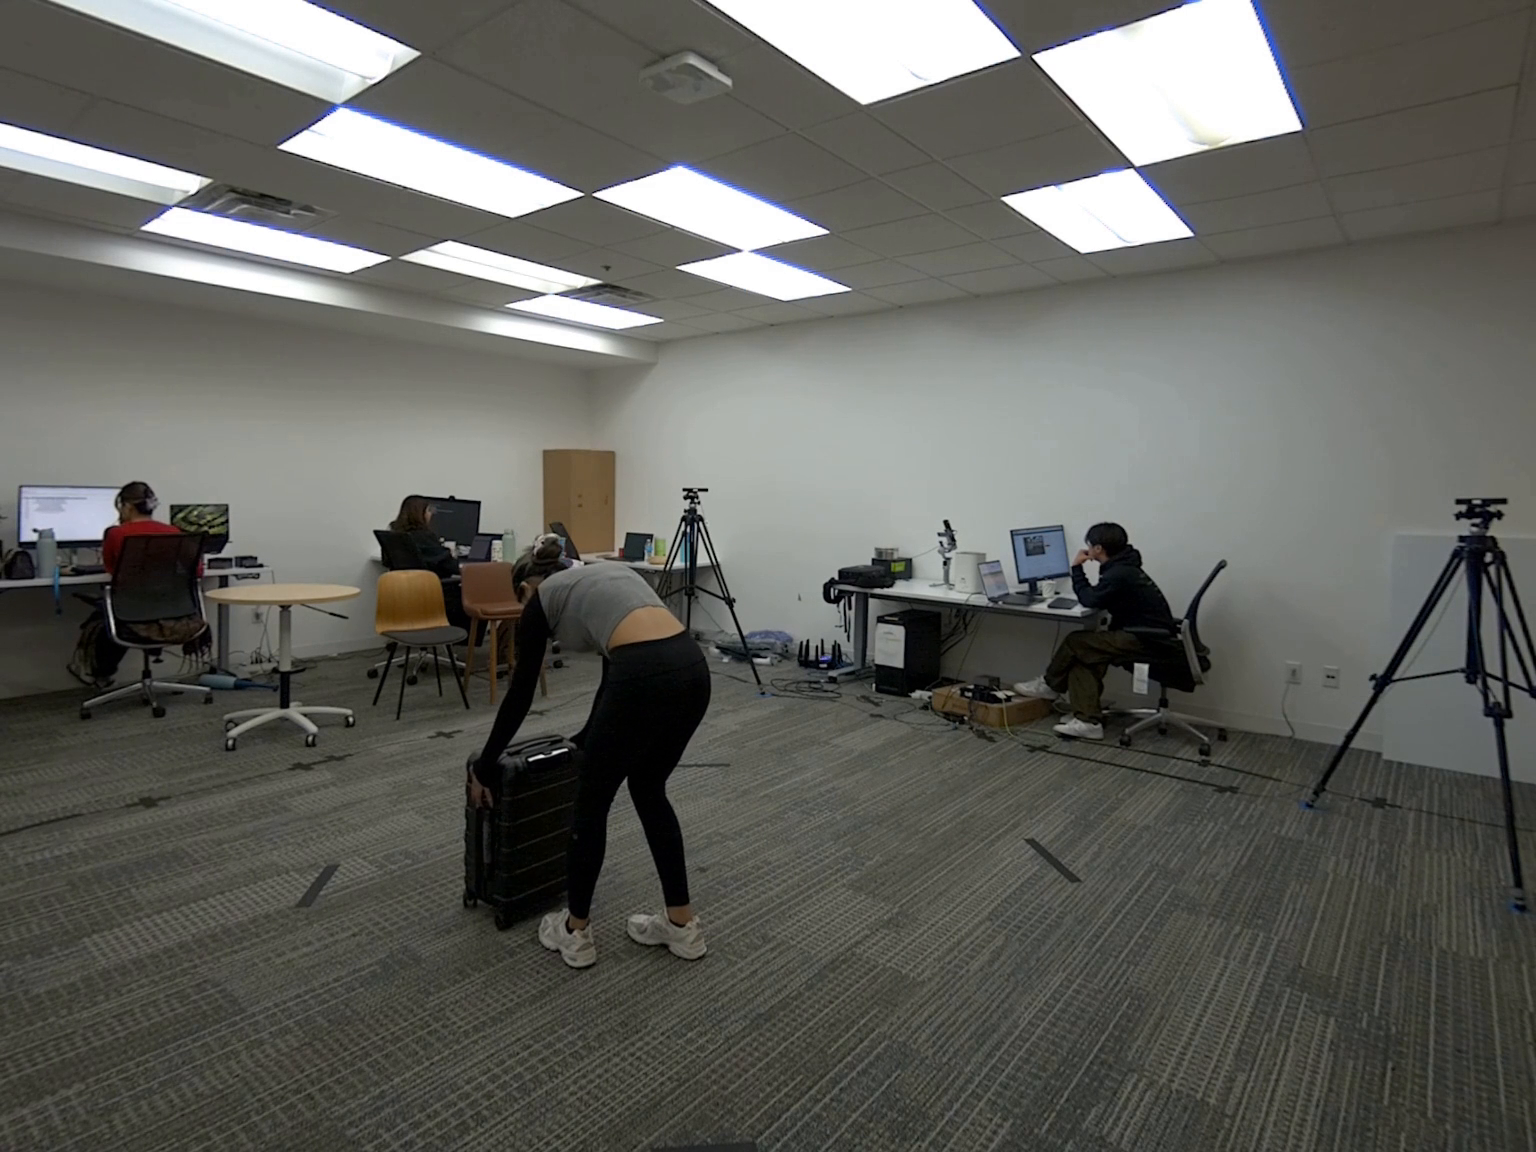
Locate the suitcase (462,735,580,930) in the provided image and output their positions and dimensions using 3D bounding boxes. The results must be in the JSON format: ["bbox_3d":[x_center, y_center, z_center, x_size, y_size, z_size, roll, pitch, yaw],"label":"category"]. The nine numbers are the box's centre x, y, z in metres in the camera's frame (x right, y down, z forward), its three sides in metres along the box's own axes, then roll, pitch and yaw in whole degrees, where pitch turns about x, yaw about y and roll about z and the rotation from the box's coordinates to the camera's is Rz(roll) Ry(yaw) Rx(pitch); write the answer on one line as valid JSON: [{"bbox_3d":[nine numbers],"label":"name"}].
[{"bbox_3d":[-0.815,0.815,2.817,0.257,0.547,0.364,5,6,39],"label":"suitcase"}]
